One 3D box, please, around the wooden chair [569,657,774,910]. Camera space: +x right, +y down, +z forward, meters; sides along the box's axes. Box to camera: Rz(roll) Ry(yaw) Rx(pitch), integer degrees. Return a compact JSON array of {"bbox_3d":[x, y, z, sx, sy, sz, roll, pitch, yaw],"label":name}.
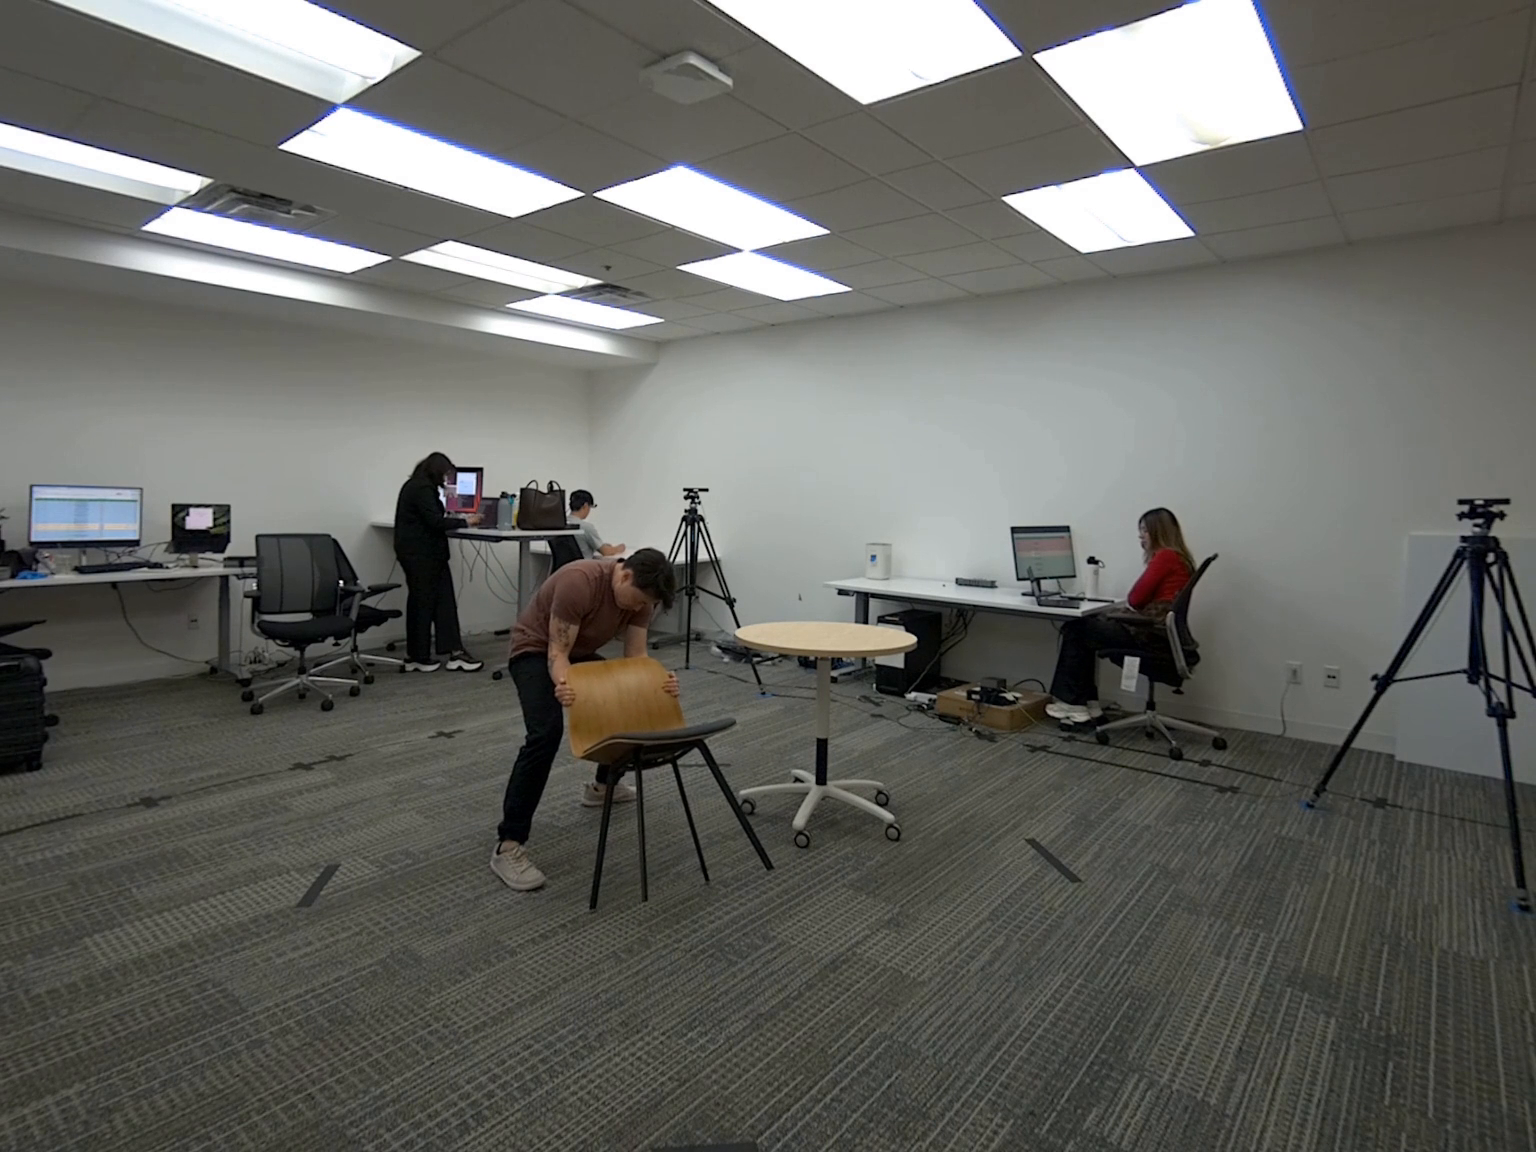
[{"bbox_3d":[-0.384,0.604,2.850,0.465,0.900,0.524,-1,-26,-32],"label":"wooden chair"}]
